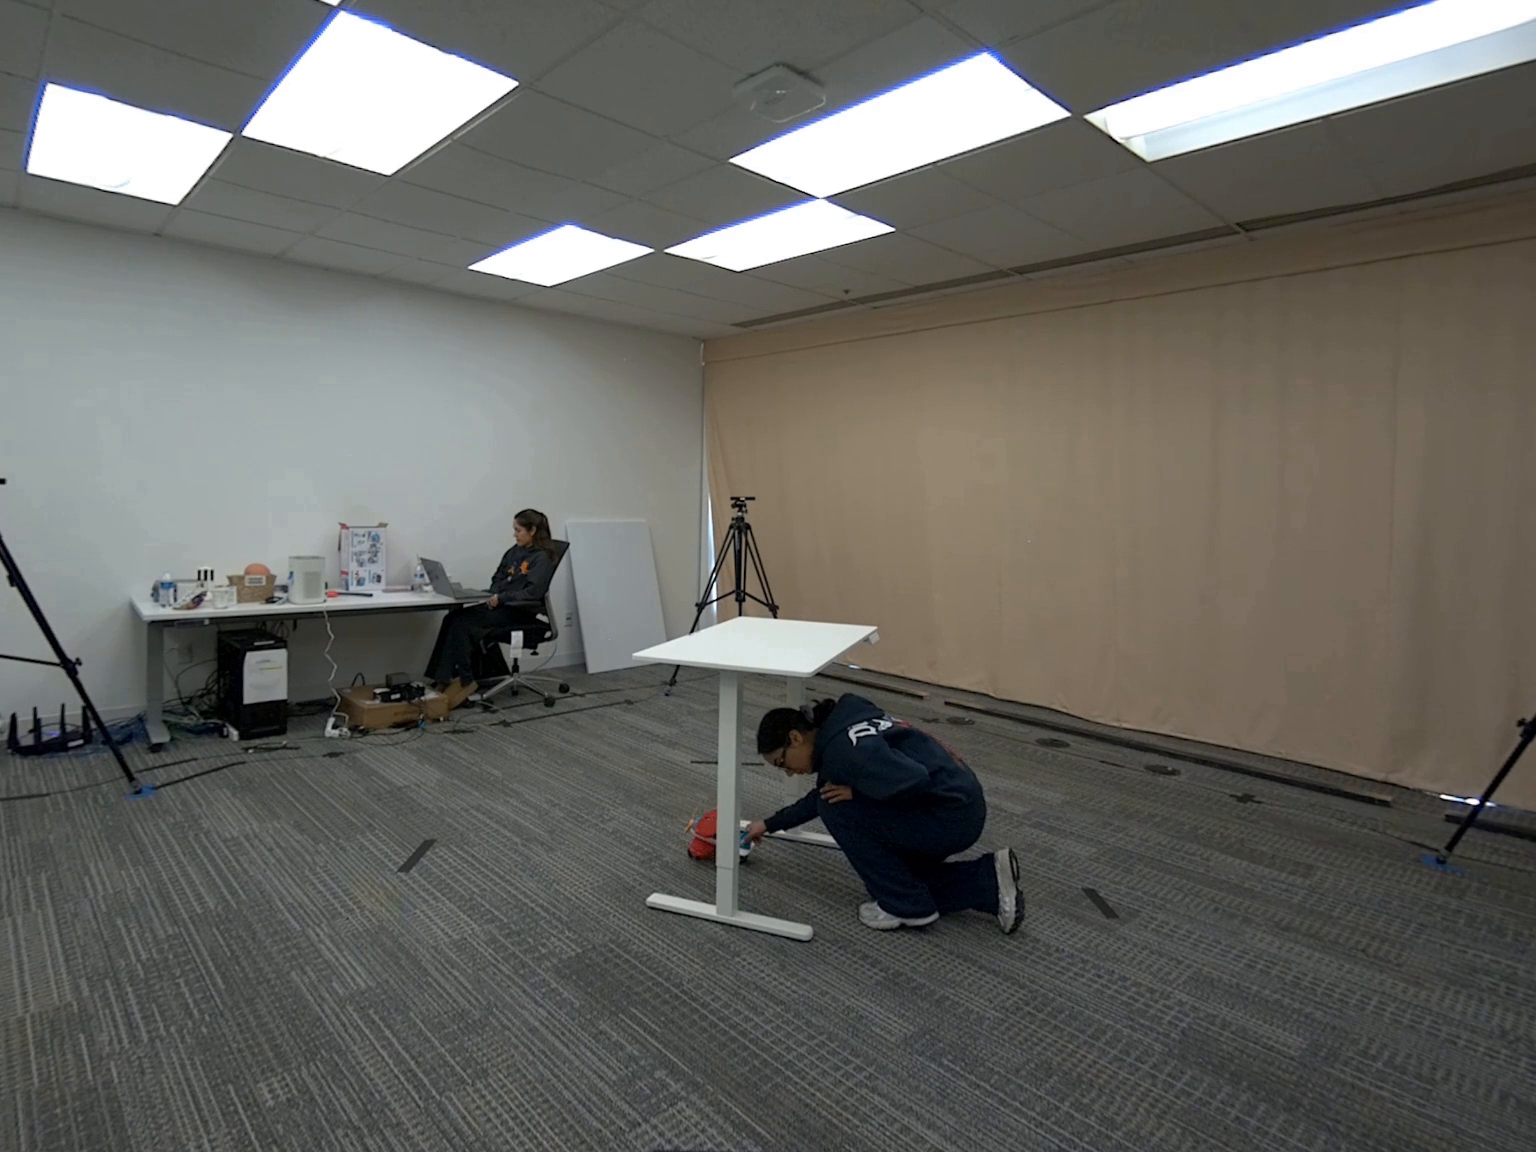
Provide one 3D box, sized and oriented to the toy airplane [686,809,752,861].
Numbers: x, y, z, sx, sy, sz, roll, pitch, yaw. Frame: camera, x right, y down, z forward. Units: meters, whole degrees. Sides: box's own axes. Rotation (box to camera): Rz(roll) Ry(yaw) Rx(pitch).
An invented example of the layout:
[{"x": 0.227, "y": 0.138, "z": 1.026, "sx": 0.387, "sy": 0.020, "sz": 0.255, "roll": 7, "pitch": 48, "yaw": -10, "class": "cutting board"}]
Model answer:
[{"x": -0.183, "y": 1.013, "z": 3.286, "sx": 0.257, "sy": 0.156, "sz": 0.254, "roll": 0, "pitch": 6, "yaw": -11, "class": "toy airplane"}]
